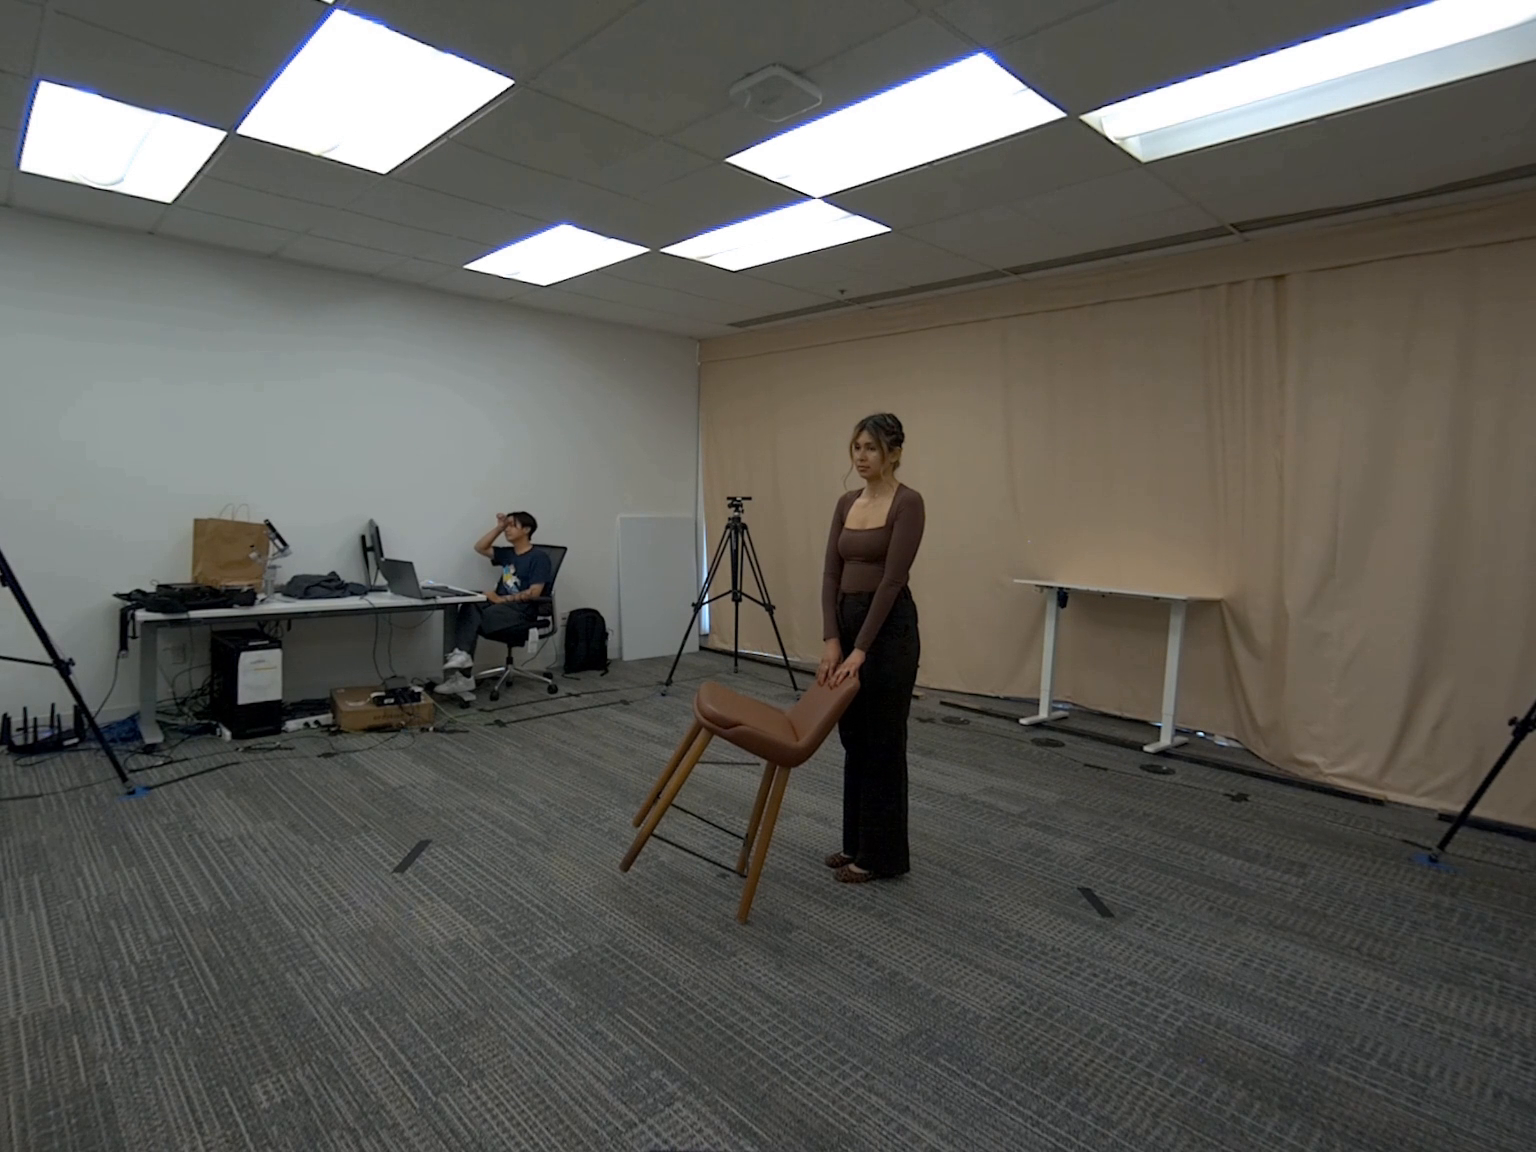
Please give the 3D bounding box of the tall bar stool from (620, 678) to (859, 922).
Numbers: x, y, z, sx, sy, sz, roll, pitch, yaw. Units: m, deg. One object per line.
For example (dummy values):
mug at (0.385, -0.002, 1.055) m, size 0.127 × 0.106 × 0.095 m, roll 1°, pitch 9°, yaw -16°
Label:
tall bar stool at (-0.100, 0.642, 2.903) m, size 0.467 × 0.889 × 0.458 m, roll 27°, pitch 3°, yaw -3°
